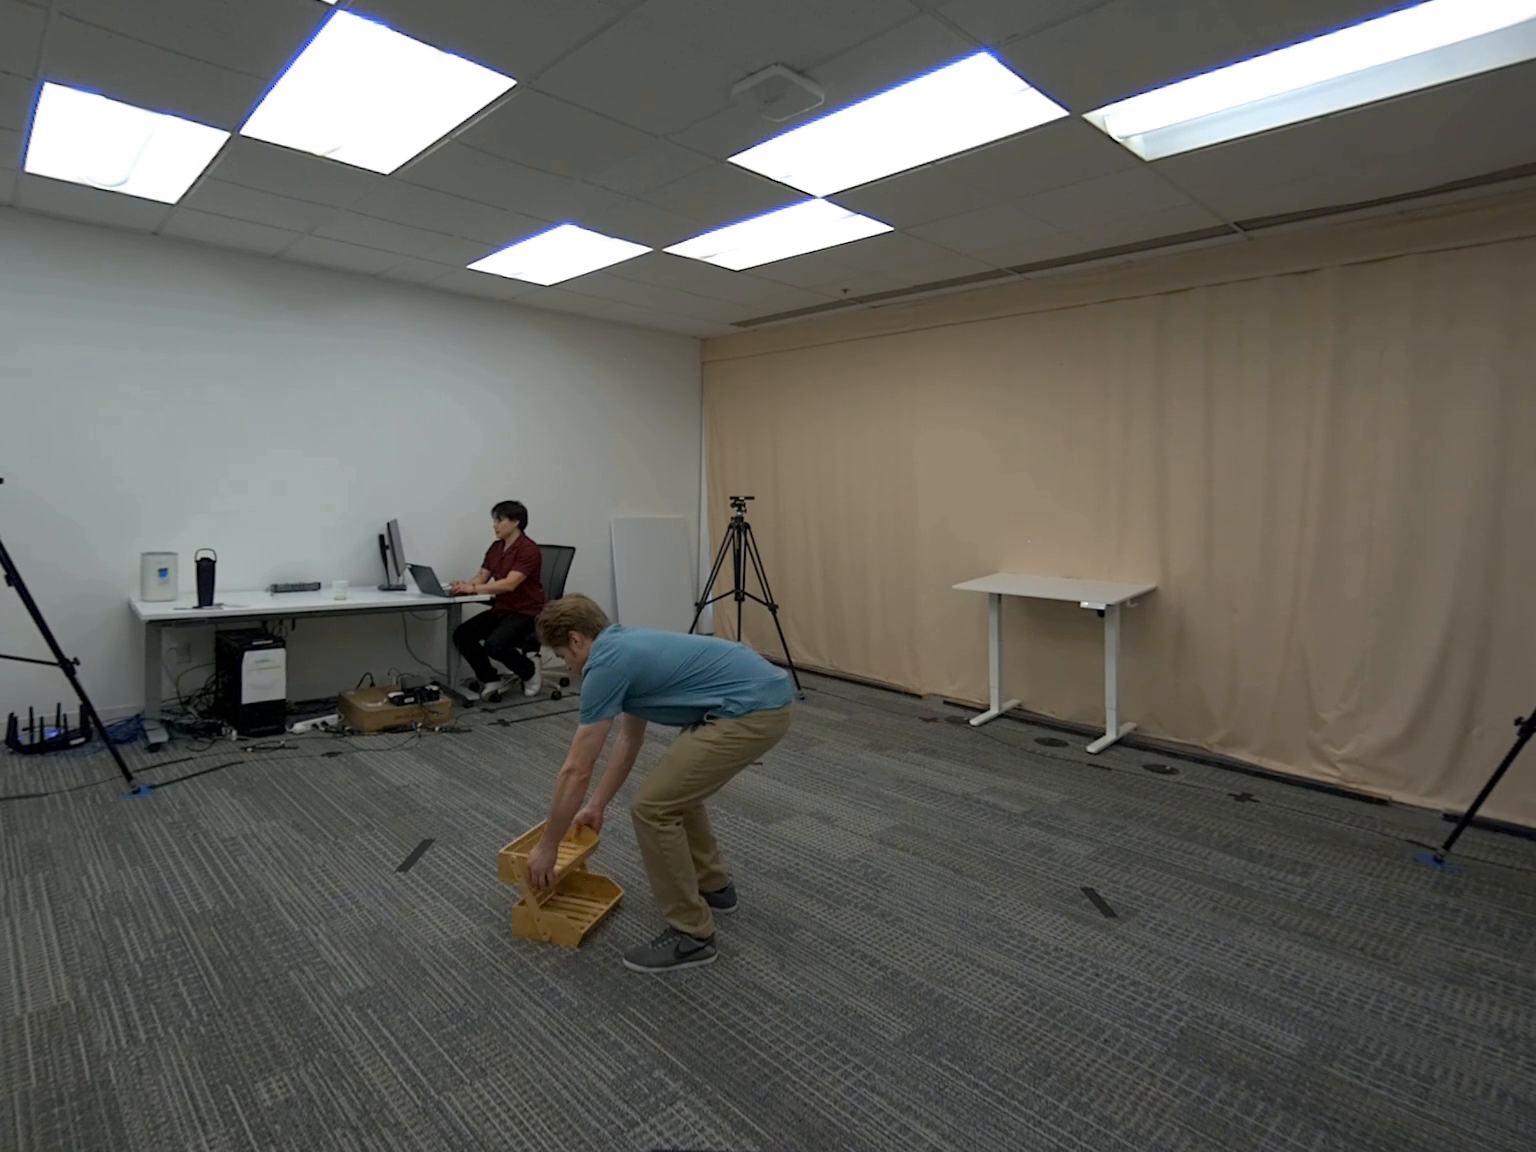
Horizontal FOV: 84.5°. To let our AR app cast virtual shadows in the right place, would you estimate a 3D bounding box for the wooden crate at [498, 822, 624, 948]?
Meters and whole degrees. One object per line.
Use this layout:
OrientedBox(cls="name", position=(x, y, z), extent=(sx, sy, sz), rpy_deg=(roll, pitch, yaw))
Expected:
OrientedBox(cls="wooden crate", position=(-0.672, 0.995, 2.749), extent=(0.306, 0.272, 0.321), rpy_deg=(2, 5, 18))
